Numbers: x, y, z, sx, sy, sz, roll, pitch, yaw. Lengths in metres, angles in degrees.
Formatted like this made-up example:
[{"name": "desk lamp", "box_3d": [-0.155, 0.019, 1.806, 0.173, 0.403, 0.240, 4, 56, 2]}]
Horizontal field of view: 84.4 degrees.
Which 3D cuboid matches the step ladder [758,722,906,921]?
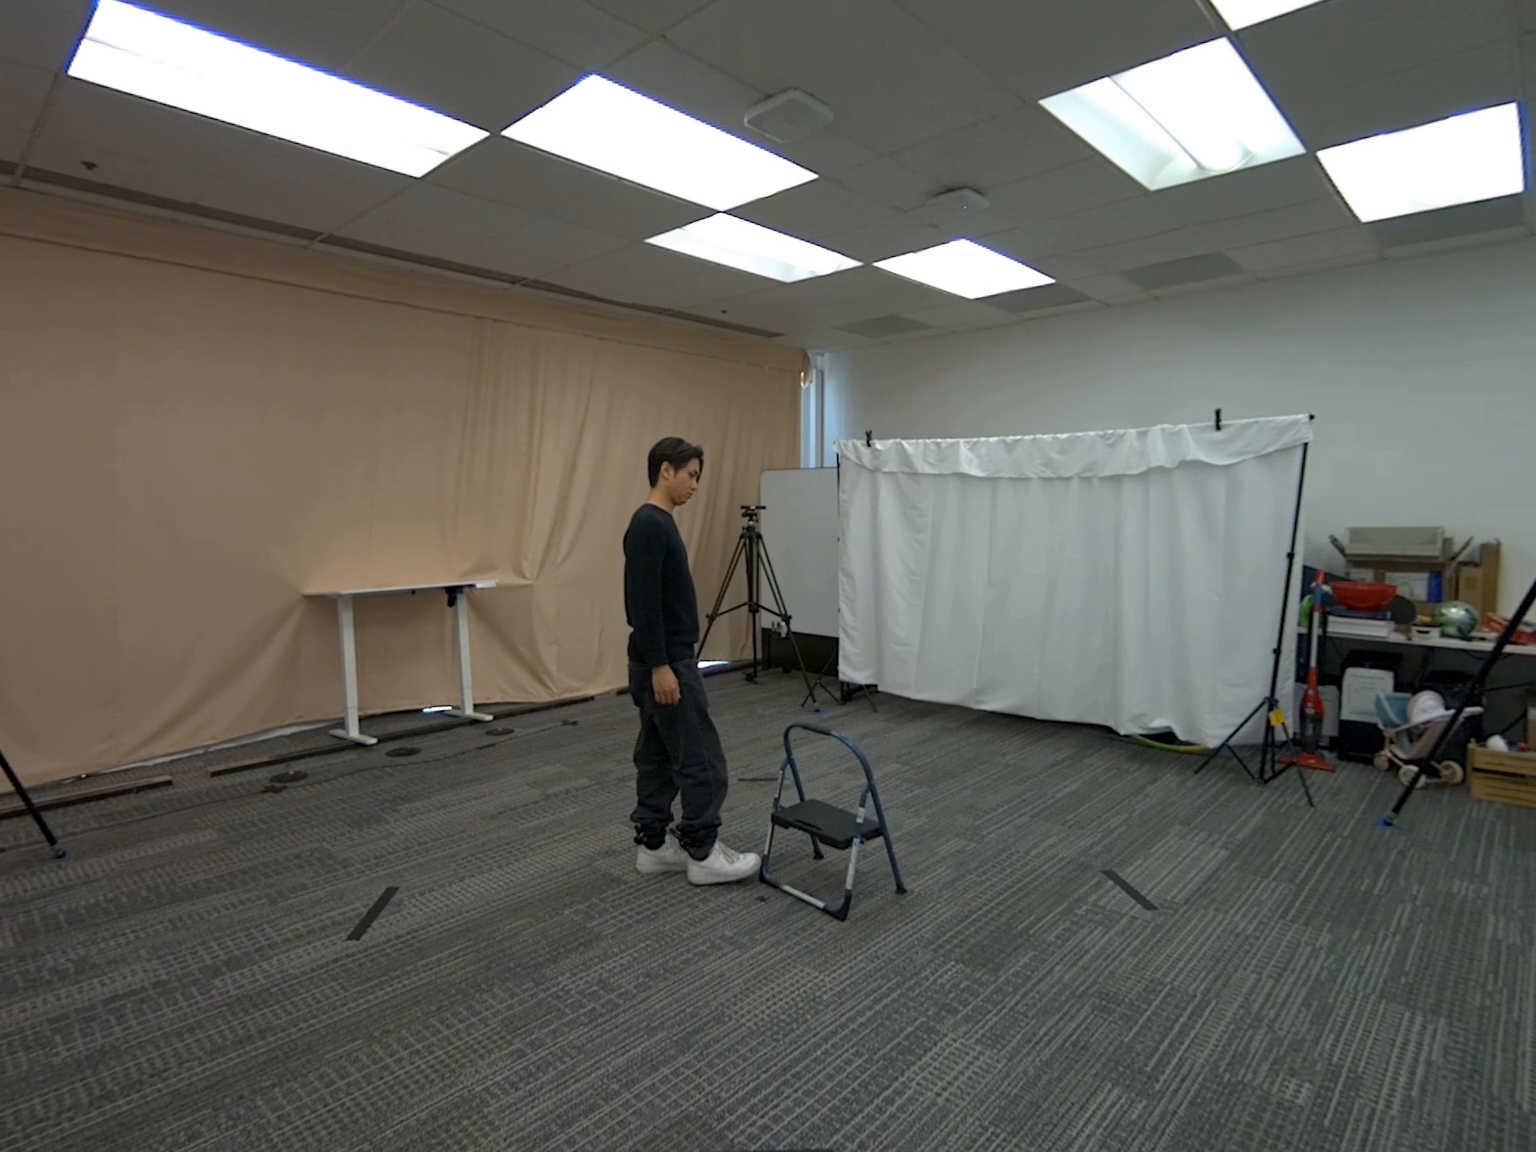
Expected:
[{"name": "step ladder", "box_3d": [0.236, 0.833, 3.062, 0.338, 0.605, 0.445, -3, 4, -44]}]
